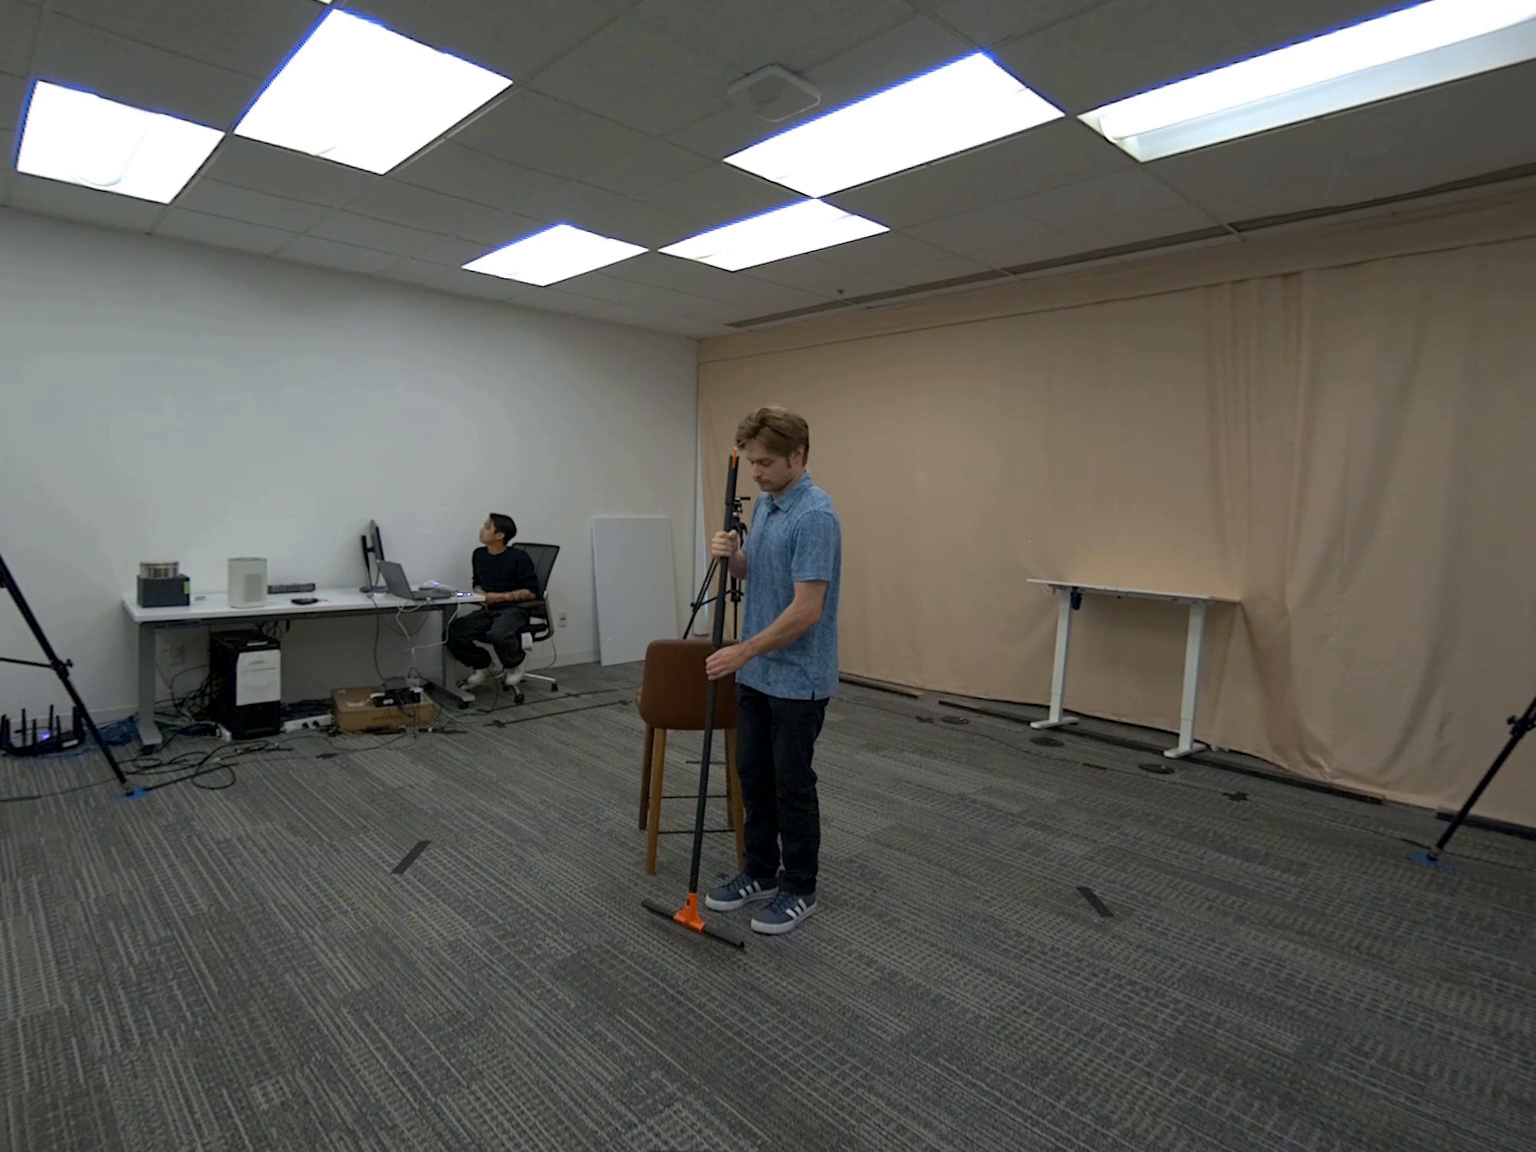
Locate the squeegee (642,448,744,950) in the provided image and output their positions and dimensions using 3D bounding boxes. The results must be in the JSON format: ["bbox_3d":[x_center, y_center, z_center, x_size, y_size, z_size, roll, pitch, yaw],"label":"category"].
[{"bbox_3d":[-0.196,0.353,2.658,0.448,1.541,0.051,0,-4,44],"label":"squeegee"}]
